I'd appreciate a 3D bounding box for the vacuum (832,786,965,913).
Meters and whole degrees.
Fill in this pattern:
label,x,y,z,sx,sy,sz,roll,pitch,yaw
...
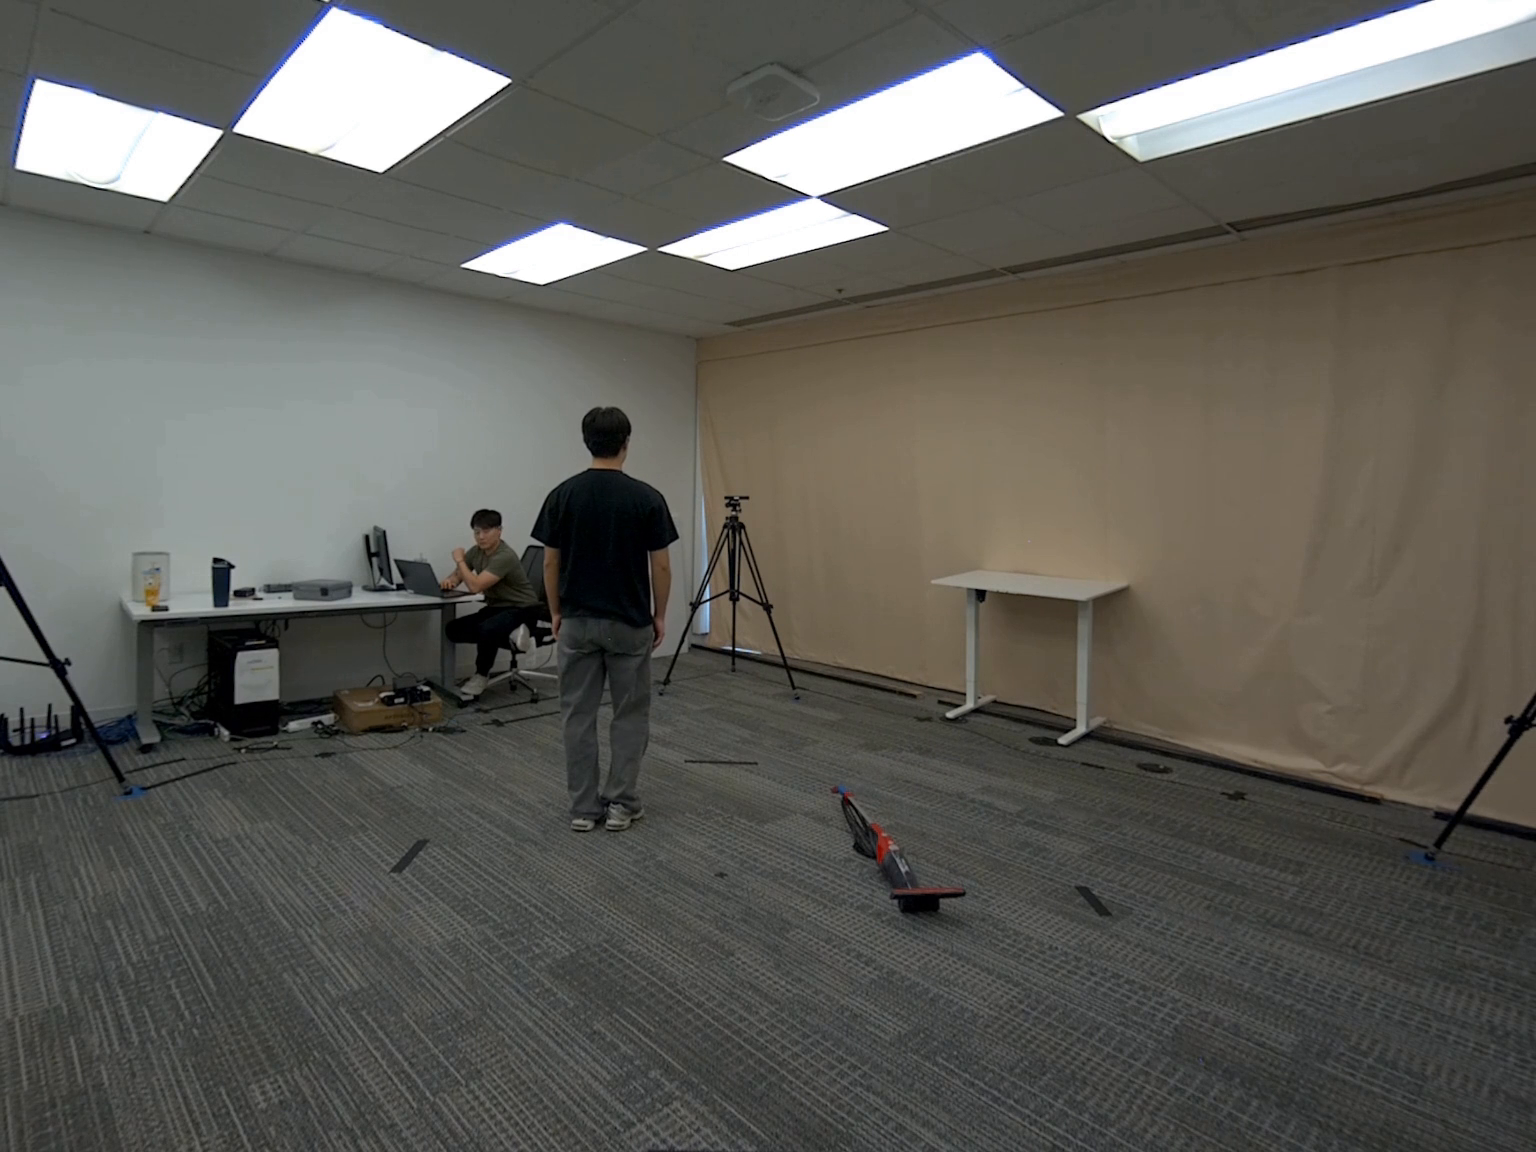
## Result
label,x,y,z,sx,sy,sz,roll,pitch,yaw
vacuum,0.410,1.038,3.343,0.250,0.144,1.060,3,4,-11
